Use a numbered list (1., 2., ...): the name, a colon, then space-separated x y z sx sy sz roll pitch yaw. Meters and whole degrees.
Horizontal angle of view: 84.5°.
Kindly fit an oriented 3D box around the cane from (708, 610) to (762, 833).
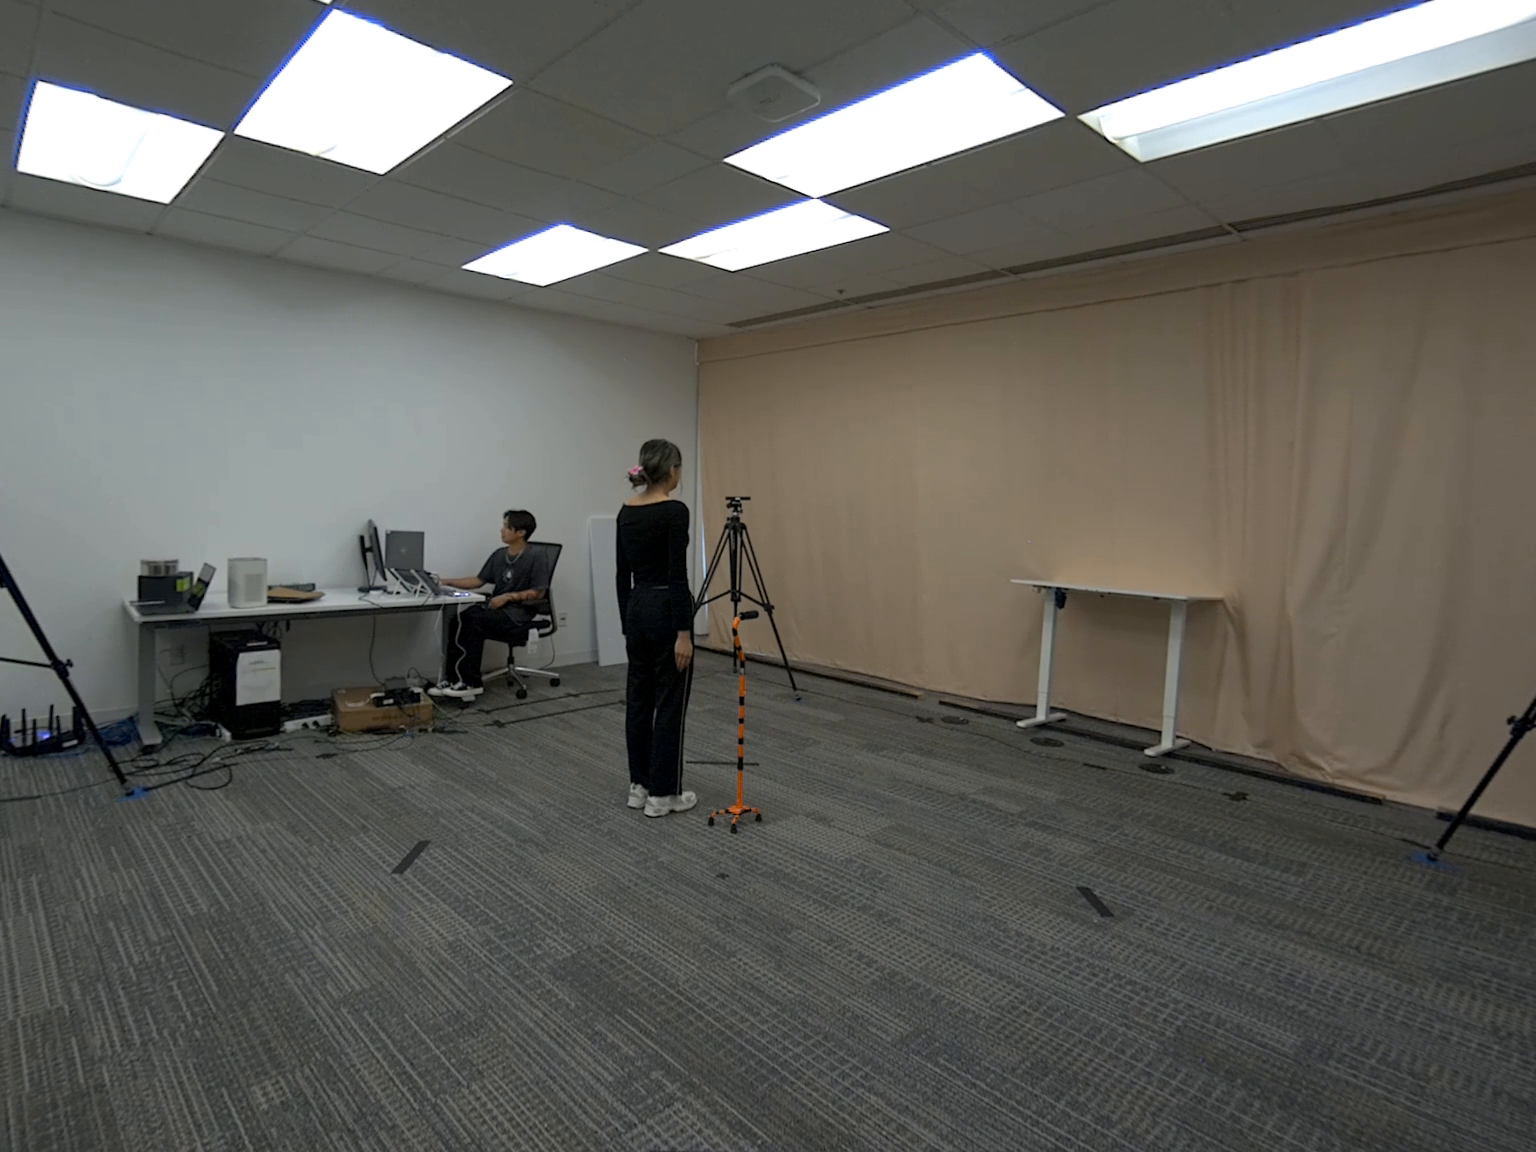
1. cane: -0.142 0.608 3.602 0.155 0.906 0.202 3 4 37
